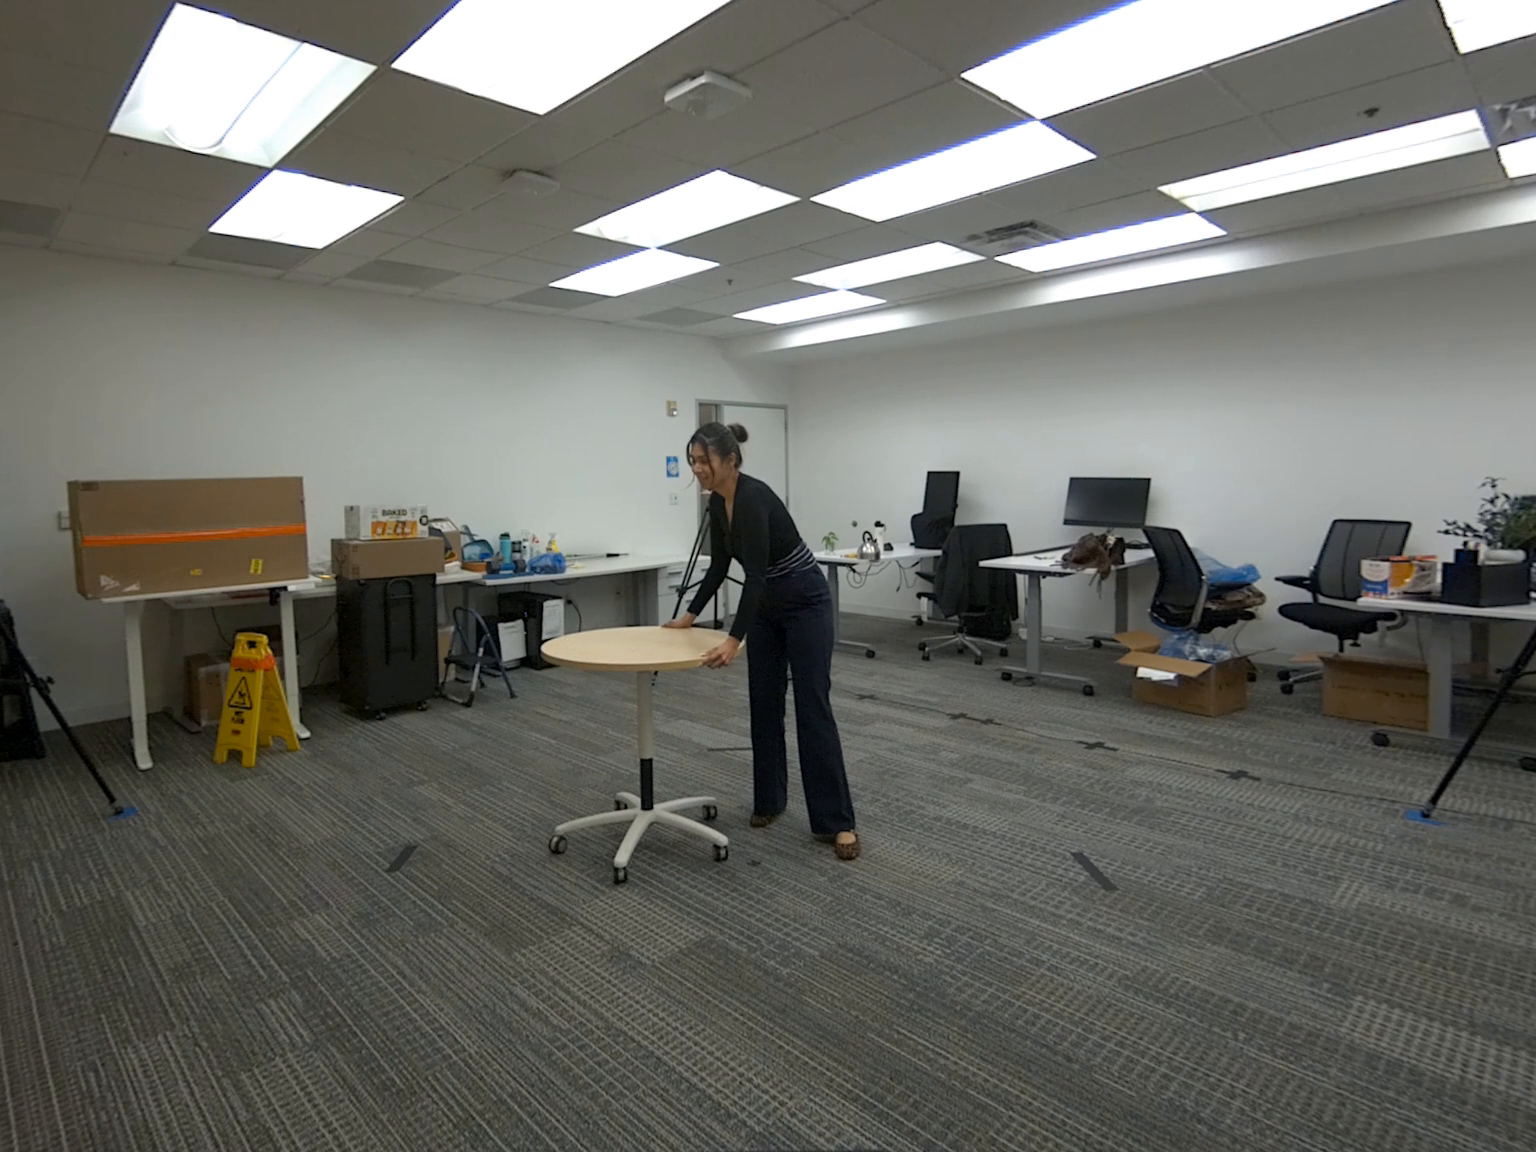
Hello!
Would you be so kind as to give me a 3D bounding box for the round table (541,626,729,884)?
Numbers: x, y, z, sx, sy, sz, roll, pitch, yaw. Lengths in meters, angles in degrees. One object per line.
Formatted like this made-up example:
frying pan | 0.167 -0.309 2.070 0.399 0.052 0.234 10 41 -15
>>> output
round table | -0.458 0.645 3.256 0.763 0.791 0.768 -1 5 -2
